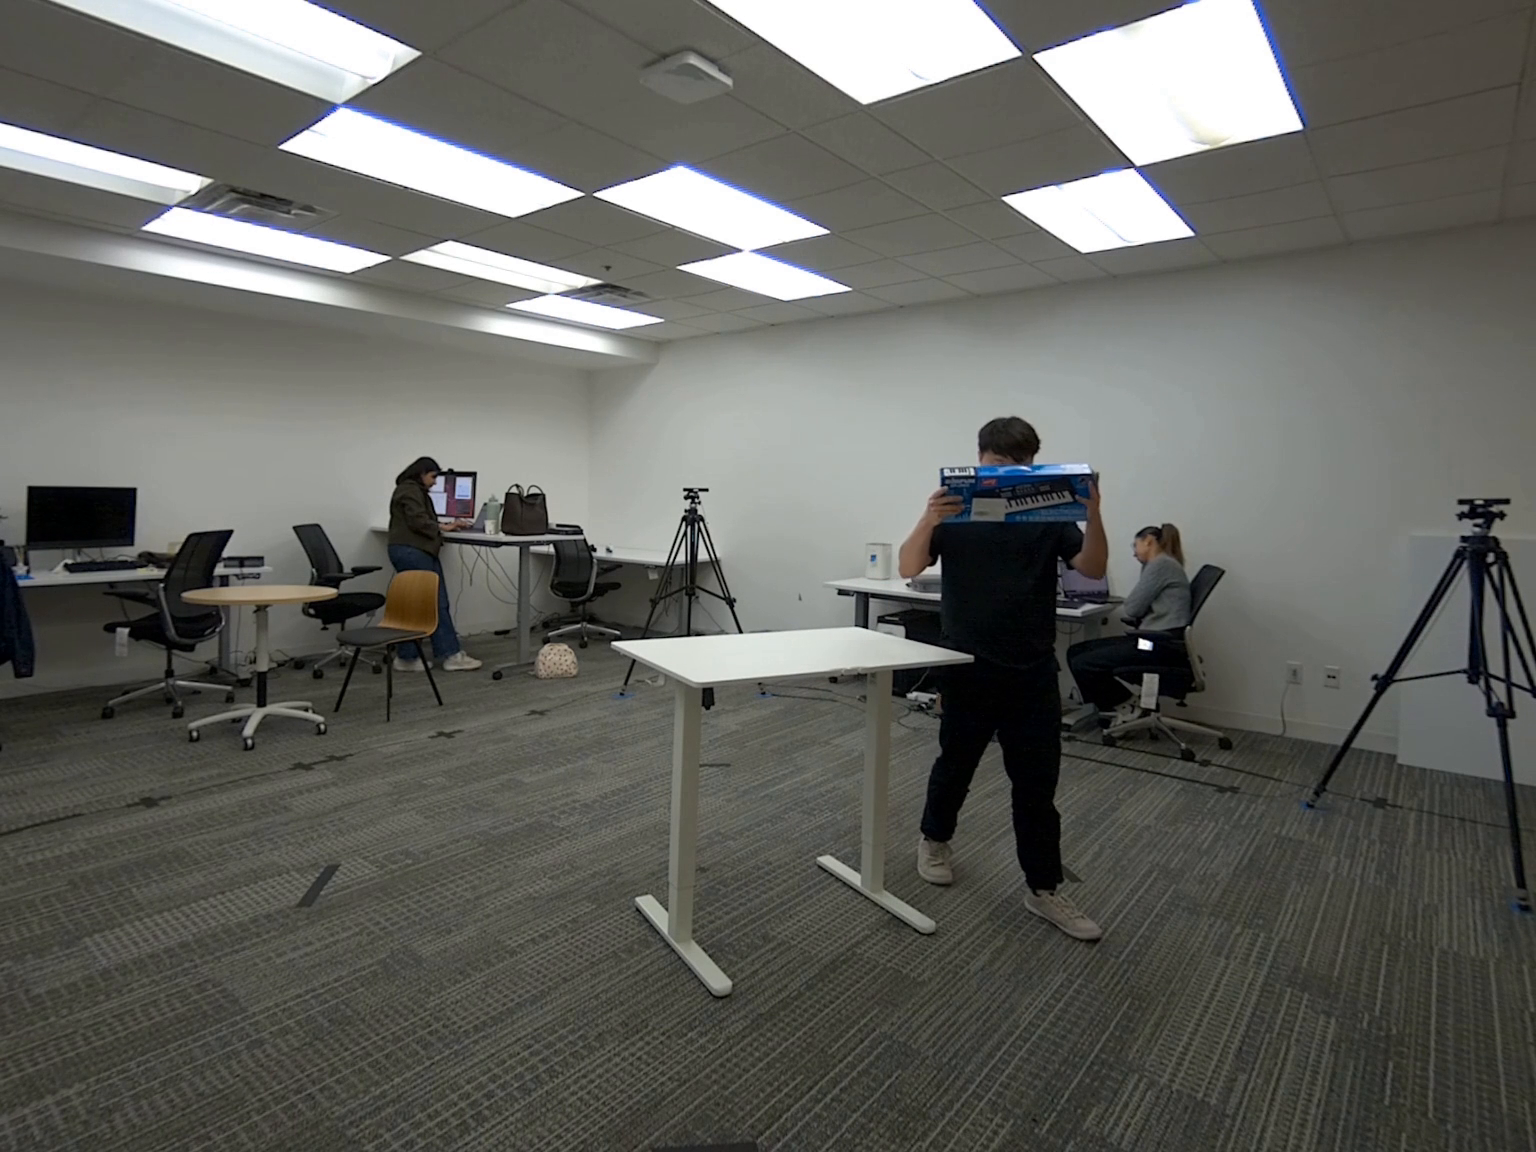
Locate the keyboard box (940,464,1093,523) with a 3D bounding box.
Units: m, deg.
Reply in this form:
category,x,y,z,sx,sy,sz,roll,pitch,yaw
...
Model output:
category,x,y,z,sx,sy,sz,roll,pitch,yaw
keyboard box,0.745,-0.253,2.615,0.442,0.170,0.060,0,36,12
